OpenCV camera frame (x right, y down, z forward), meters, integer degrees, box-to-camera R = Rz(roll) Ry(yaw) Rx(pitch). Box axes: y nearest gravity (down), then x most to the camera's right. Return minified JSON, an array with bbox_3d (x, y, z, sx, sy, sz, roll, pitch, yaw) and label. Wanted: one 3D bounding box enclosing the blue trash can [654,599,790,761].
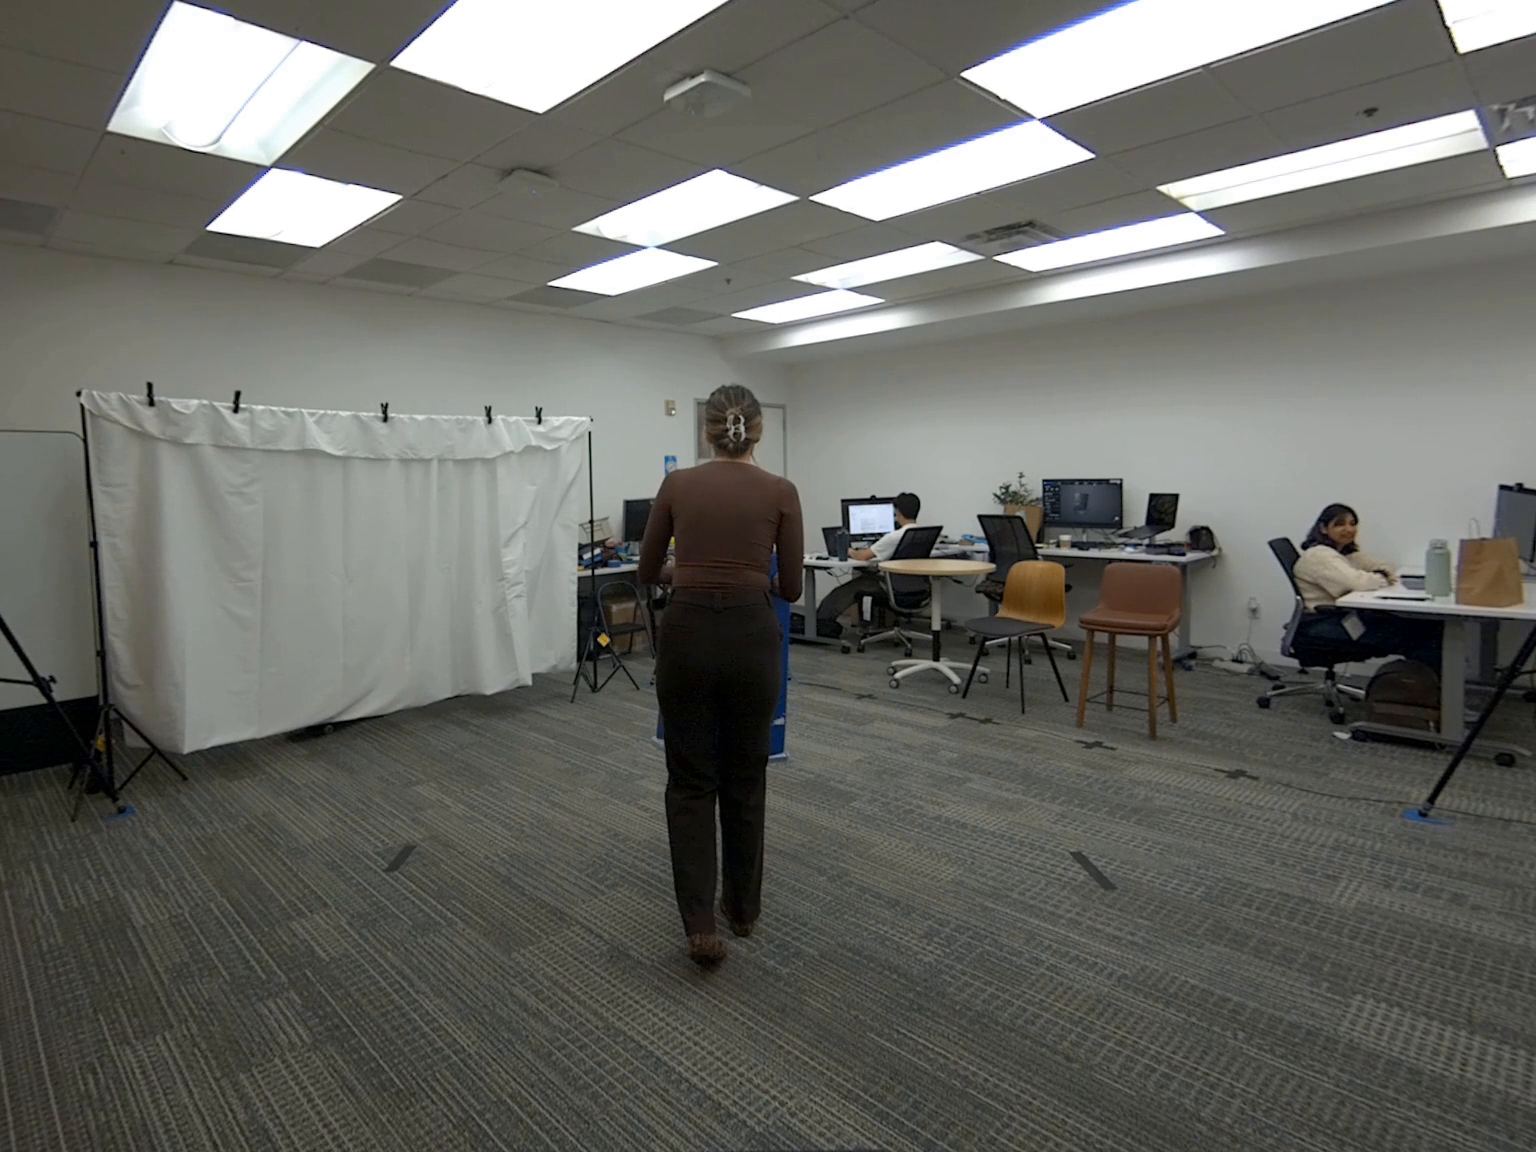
[{"bbox_3d":[-0.146,0.266,2.978,0.364,0.713,0.389,2,1,-35],"label":"blue trash can"}]
